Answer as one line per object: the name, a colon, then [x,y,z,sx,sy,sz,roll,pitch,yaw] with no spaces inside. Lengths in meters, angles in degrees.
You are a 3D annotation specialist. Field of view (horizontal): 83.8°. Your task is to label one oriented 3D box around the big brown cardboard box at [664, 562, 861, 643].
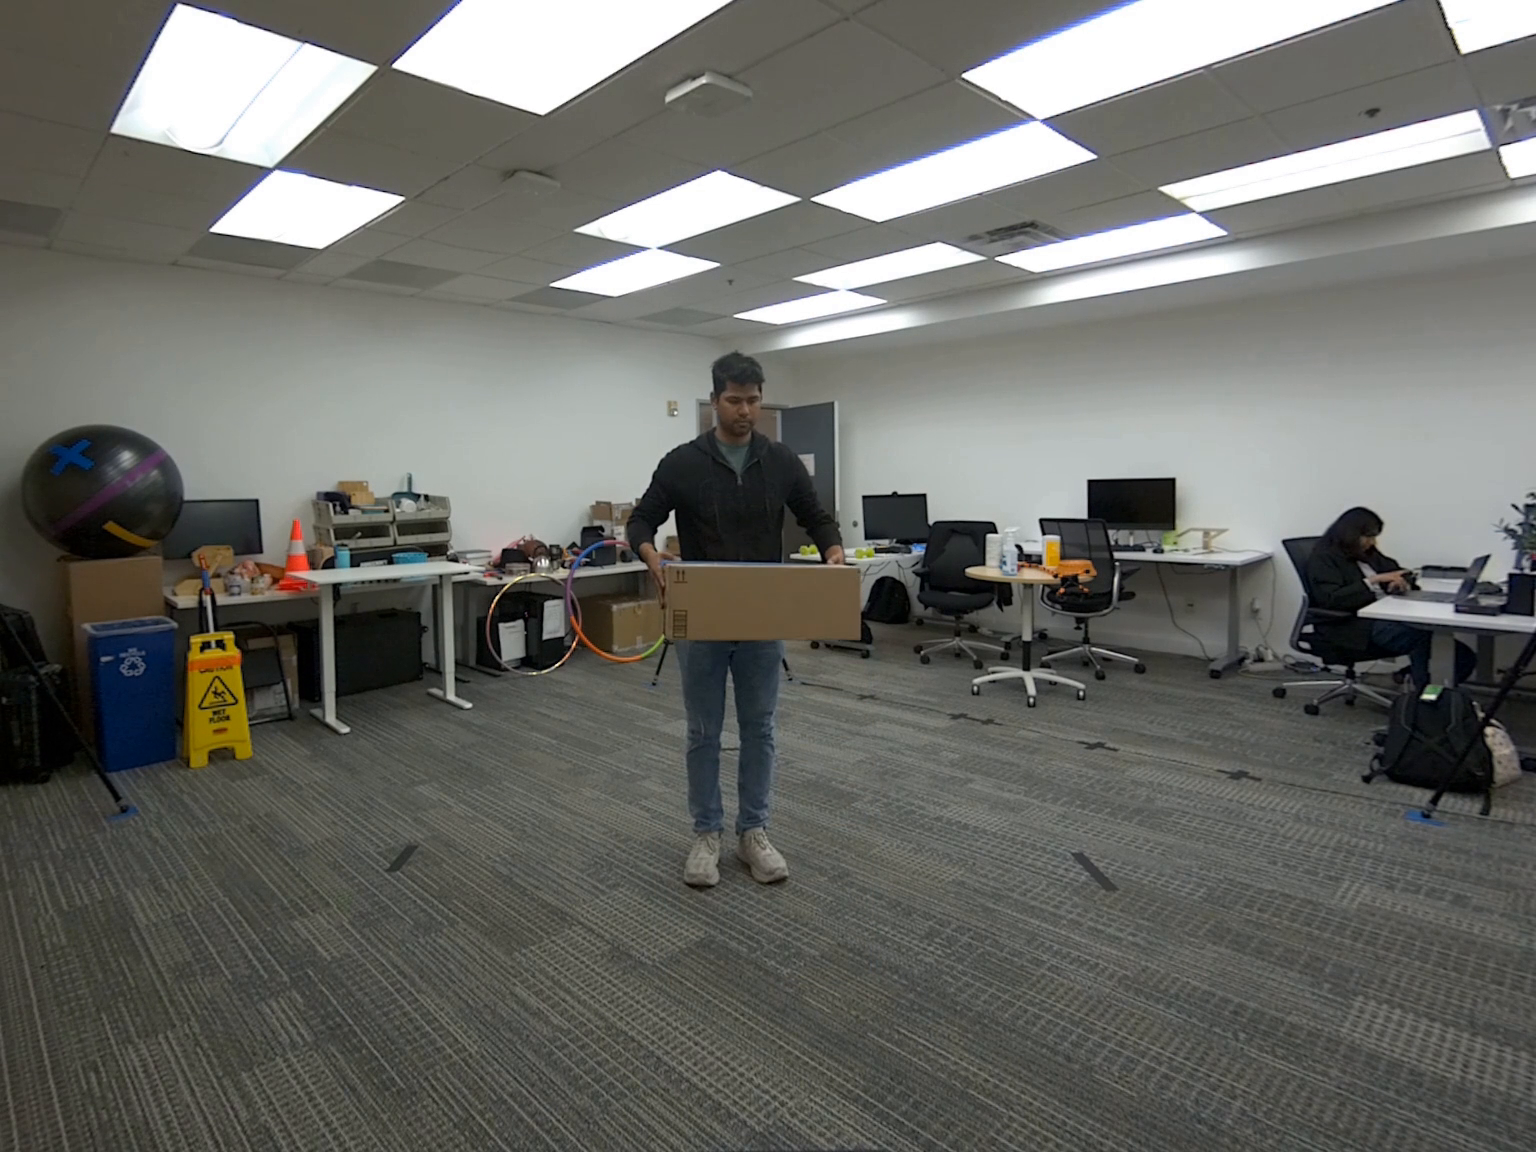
big brown cardboard box: [-0.047,0.079,2.666,0.584,0.233,0.421,1,1,-8]
